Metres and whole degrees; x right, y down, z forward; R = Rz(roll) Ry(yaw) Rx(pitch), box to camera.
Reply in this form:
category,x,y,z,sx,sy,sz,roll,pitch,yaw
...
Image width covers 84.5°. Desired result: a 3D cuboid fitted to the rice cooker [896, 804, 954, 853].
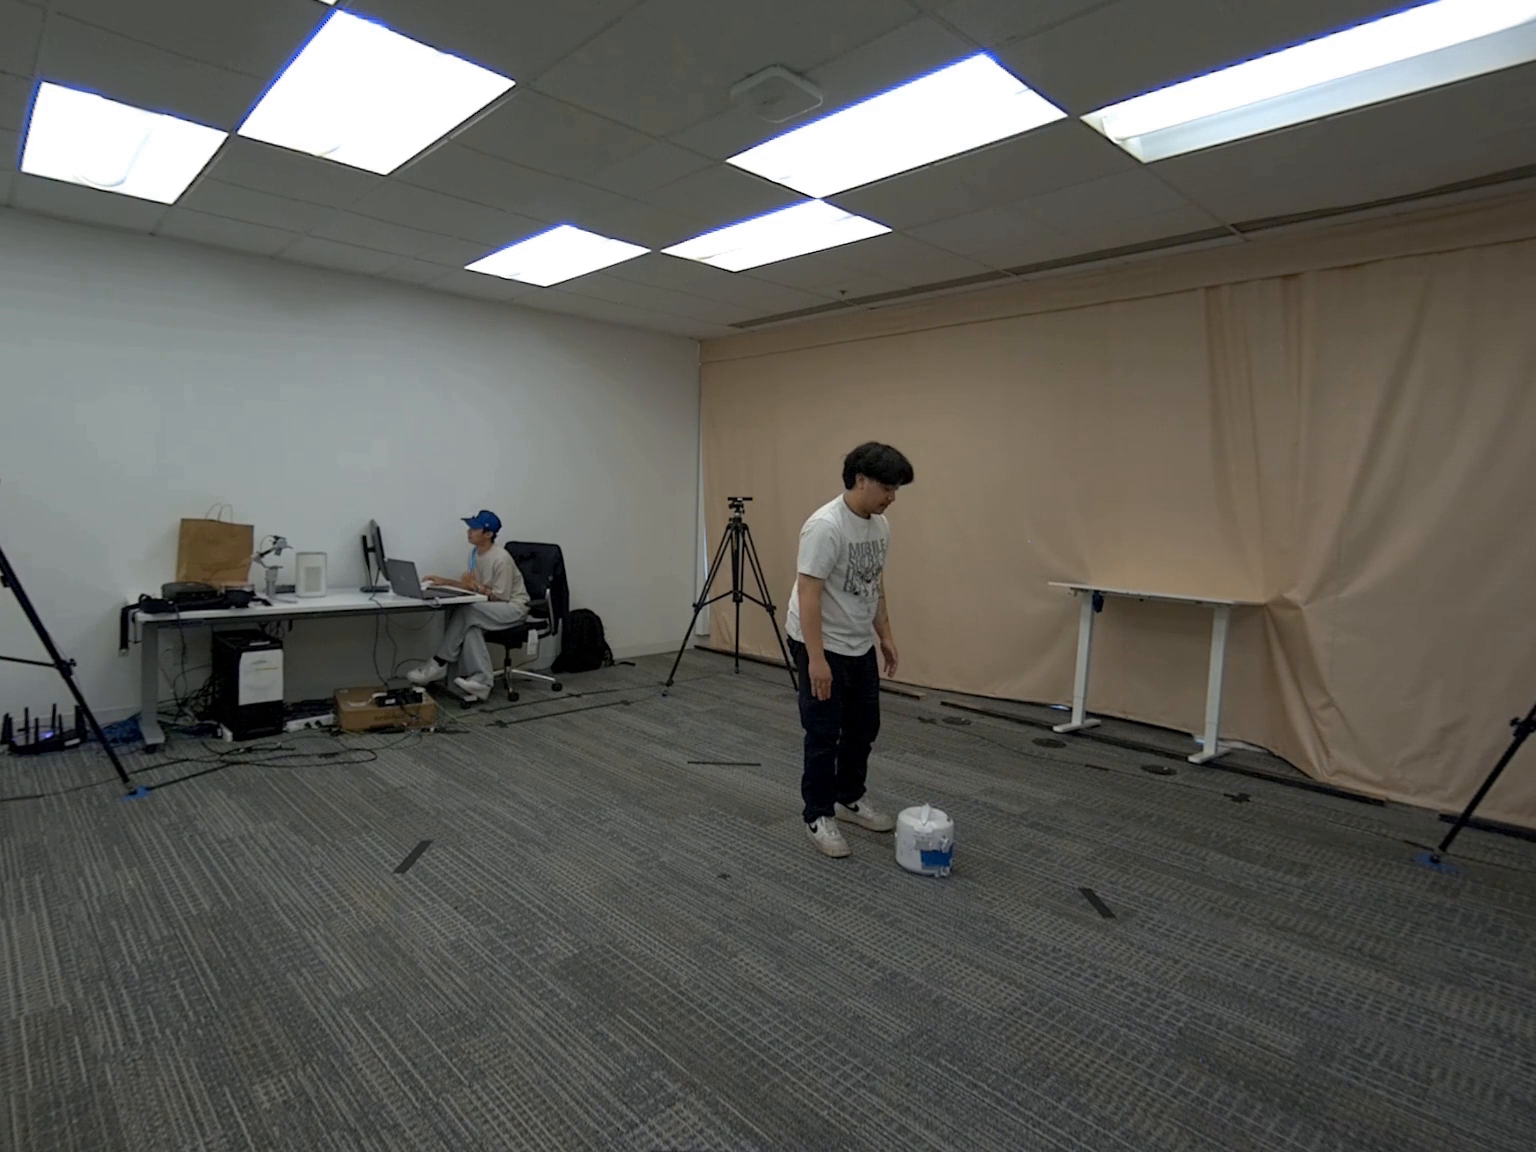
category,x,y,z,sx,sy,sz,roll,pitch,yaw
rice cooker,0.588,0.995,3.225,0.220,0.232,0.218,4,4,17
